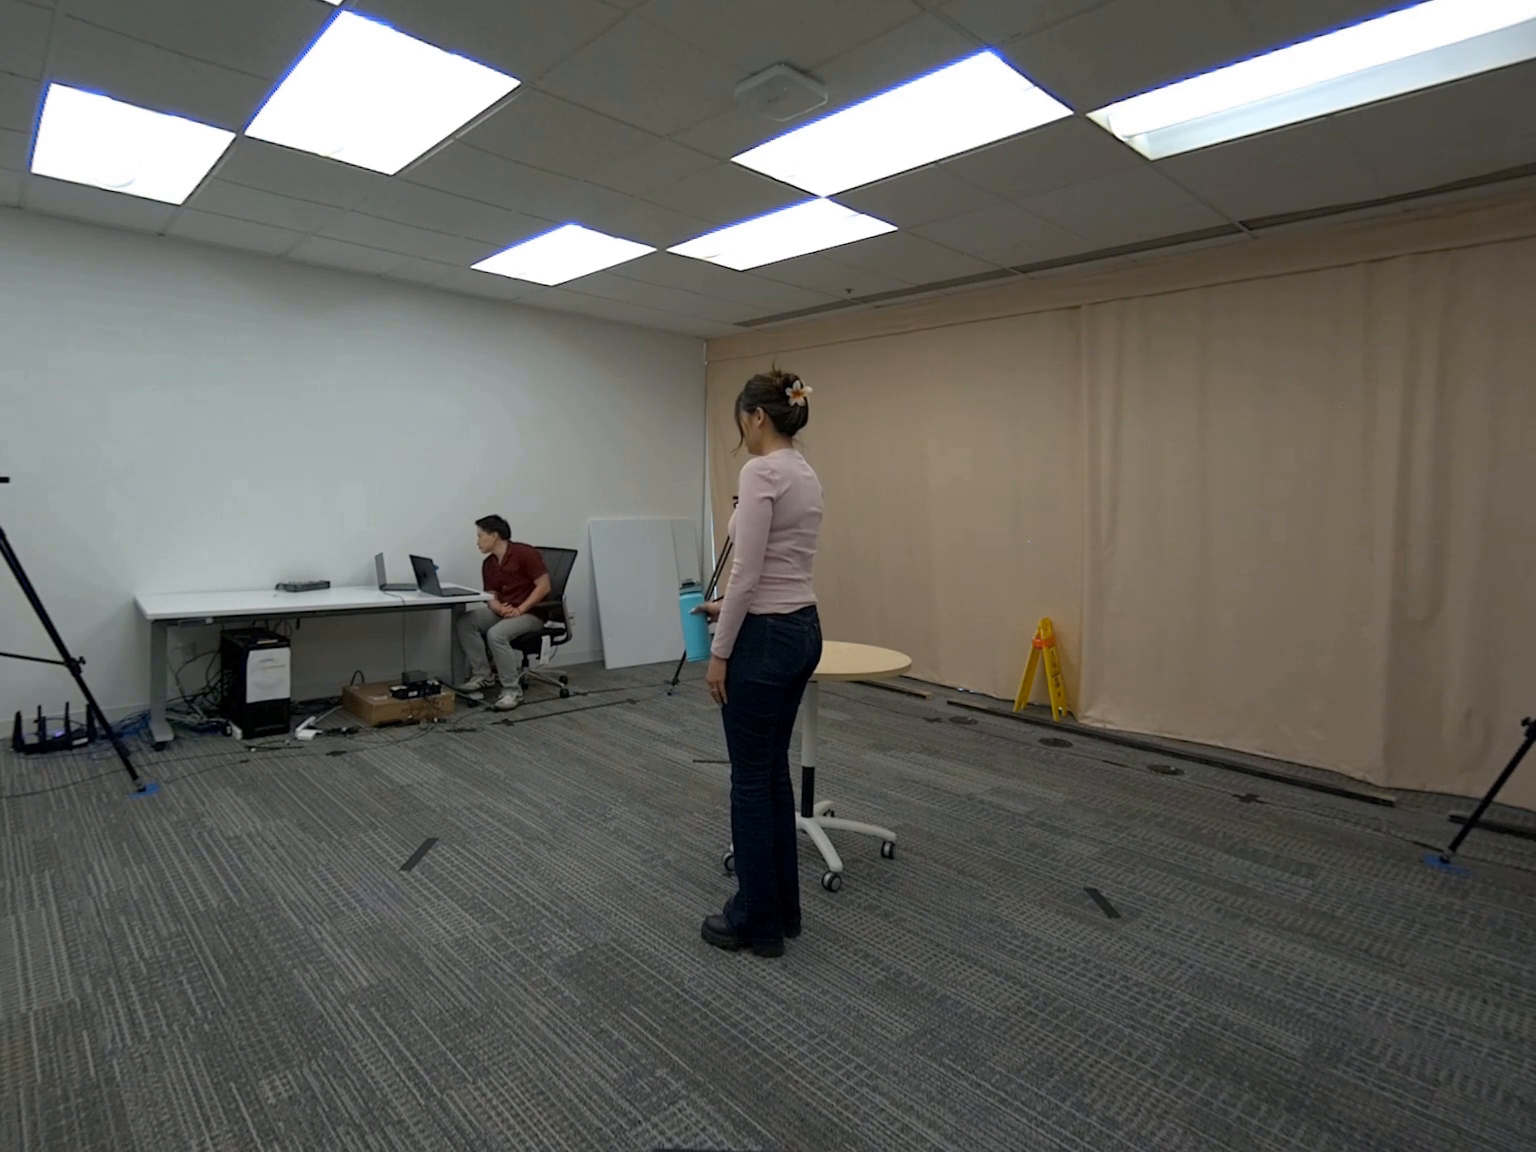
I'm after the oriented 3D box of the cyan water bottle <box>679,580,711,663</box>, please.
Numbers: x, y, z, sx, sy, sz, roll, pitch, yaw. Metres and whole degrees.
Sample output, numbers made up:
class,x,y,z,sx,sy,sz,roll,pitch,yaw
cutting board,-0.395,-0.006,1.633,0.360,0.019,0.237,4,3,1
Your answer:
class,x,y,z,sx,sy,sz,roll,pitch,yaw
cyan water bottle,-0.262,0.147,2.904,0.092,0.285,0.092,-6,-9,-2
